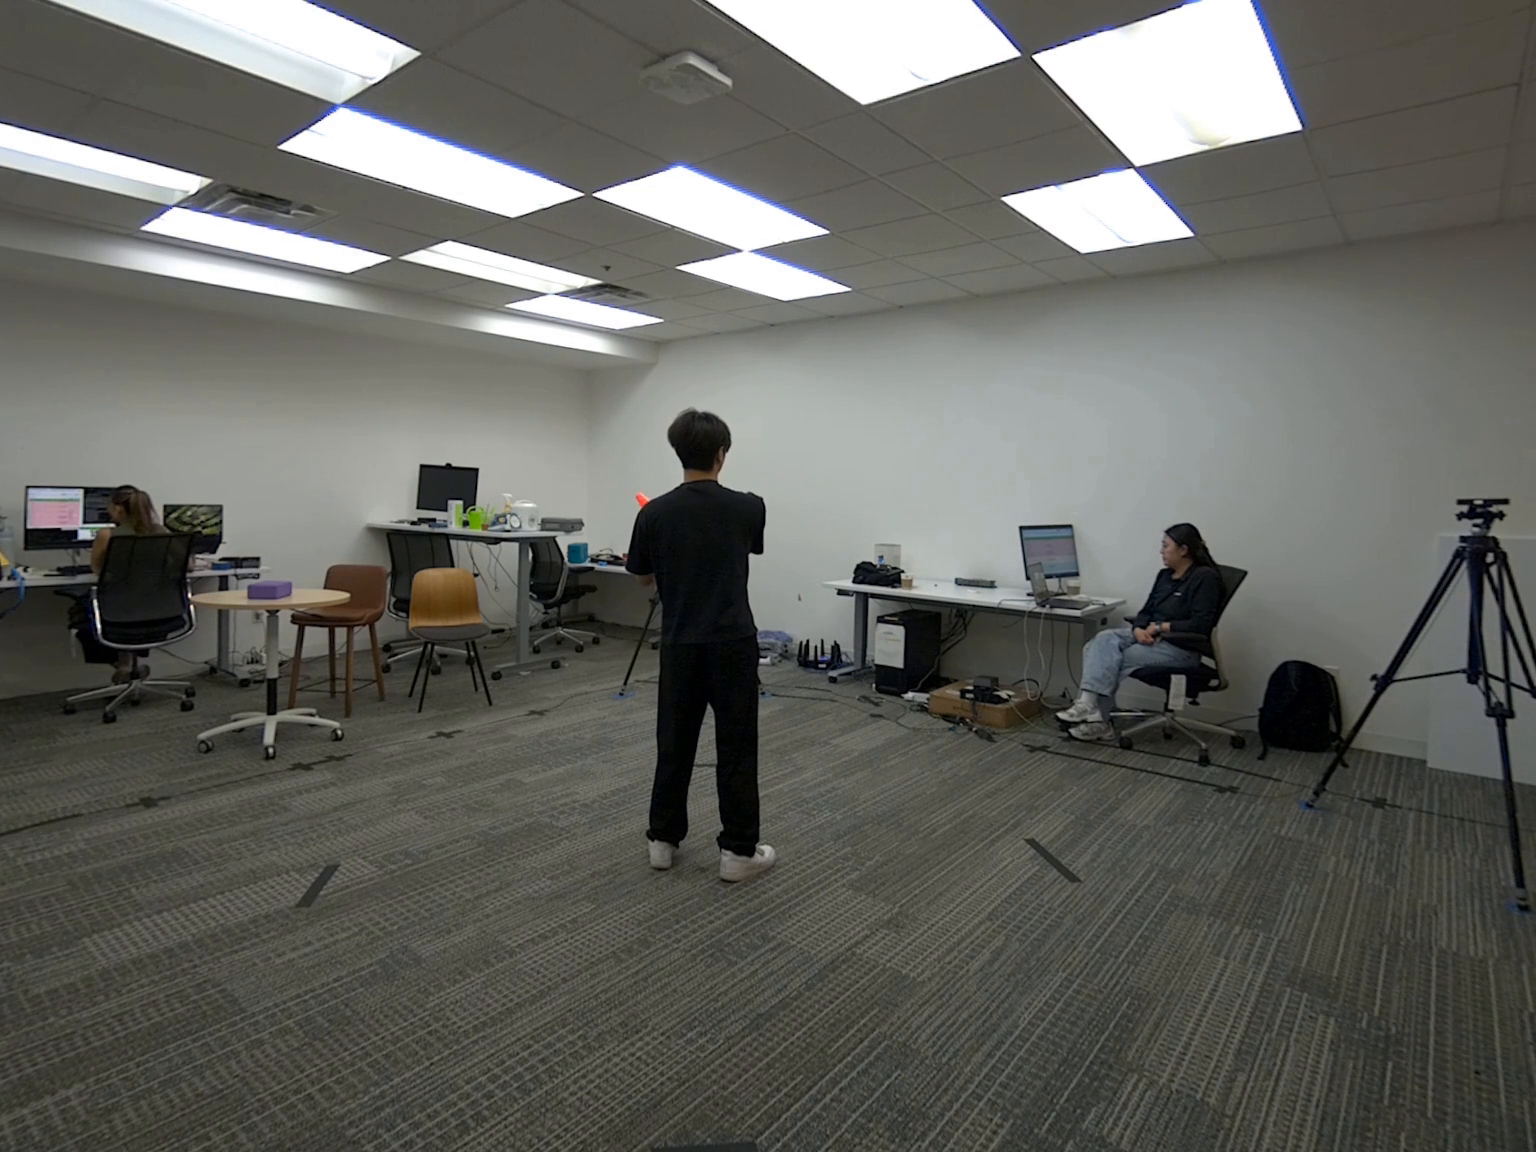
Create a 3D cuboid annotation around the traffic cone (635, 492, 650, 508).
[{"bbox_3d":[-0.448,-0.217,3.610,0.203,0.396,0.198,-39,-24,-5],"label":"traffic cone"}]
